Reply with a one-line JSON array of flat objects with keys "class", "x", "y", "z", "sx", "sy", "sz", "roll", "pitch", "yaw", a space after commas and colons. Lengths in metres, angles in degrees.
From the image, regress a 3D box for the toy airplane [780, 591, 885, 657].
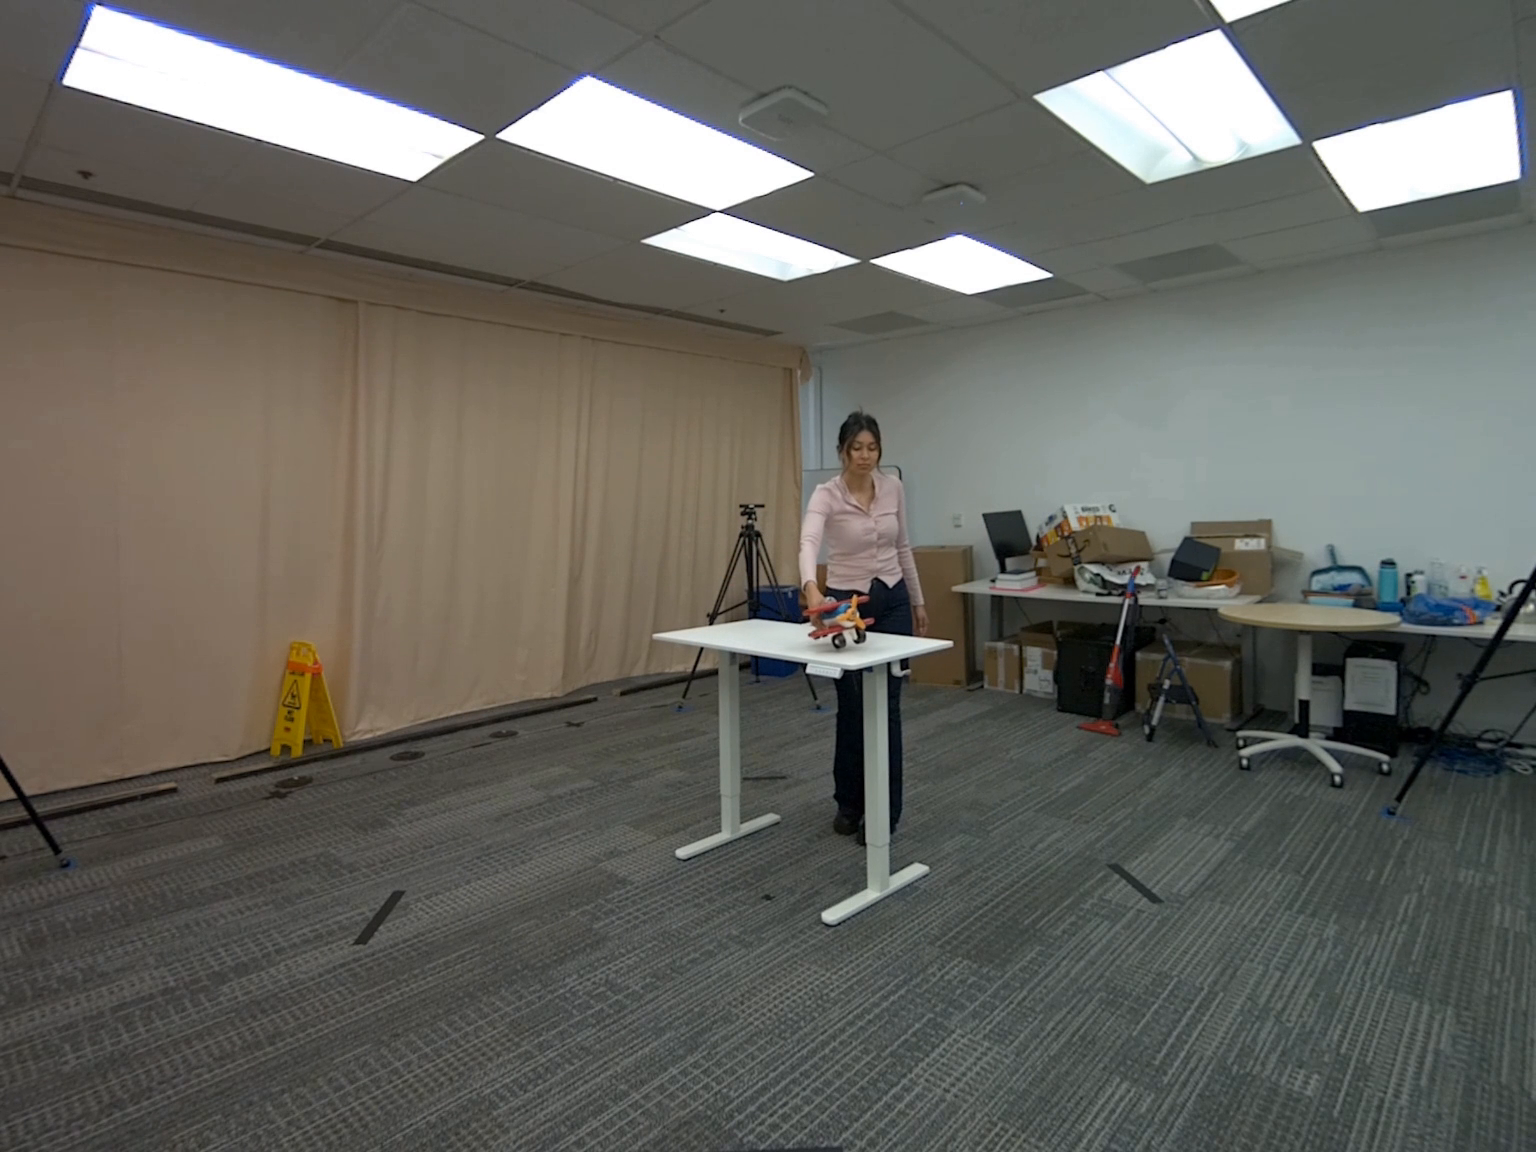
[{"class": "toy airplane", "x": 0.223, "y": 0.158, "z": 2.926, "sx": 0.267, "sy": 0.155, "sz": 0.245, "roll": 0, "pitch": 11, "yaw": 33}]
